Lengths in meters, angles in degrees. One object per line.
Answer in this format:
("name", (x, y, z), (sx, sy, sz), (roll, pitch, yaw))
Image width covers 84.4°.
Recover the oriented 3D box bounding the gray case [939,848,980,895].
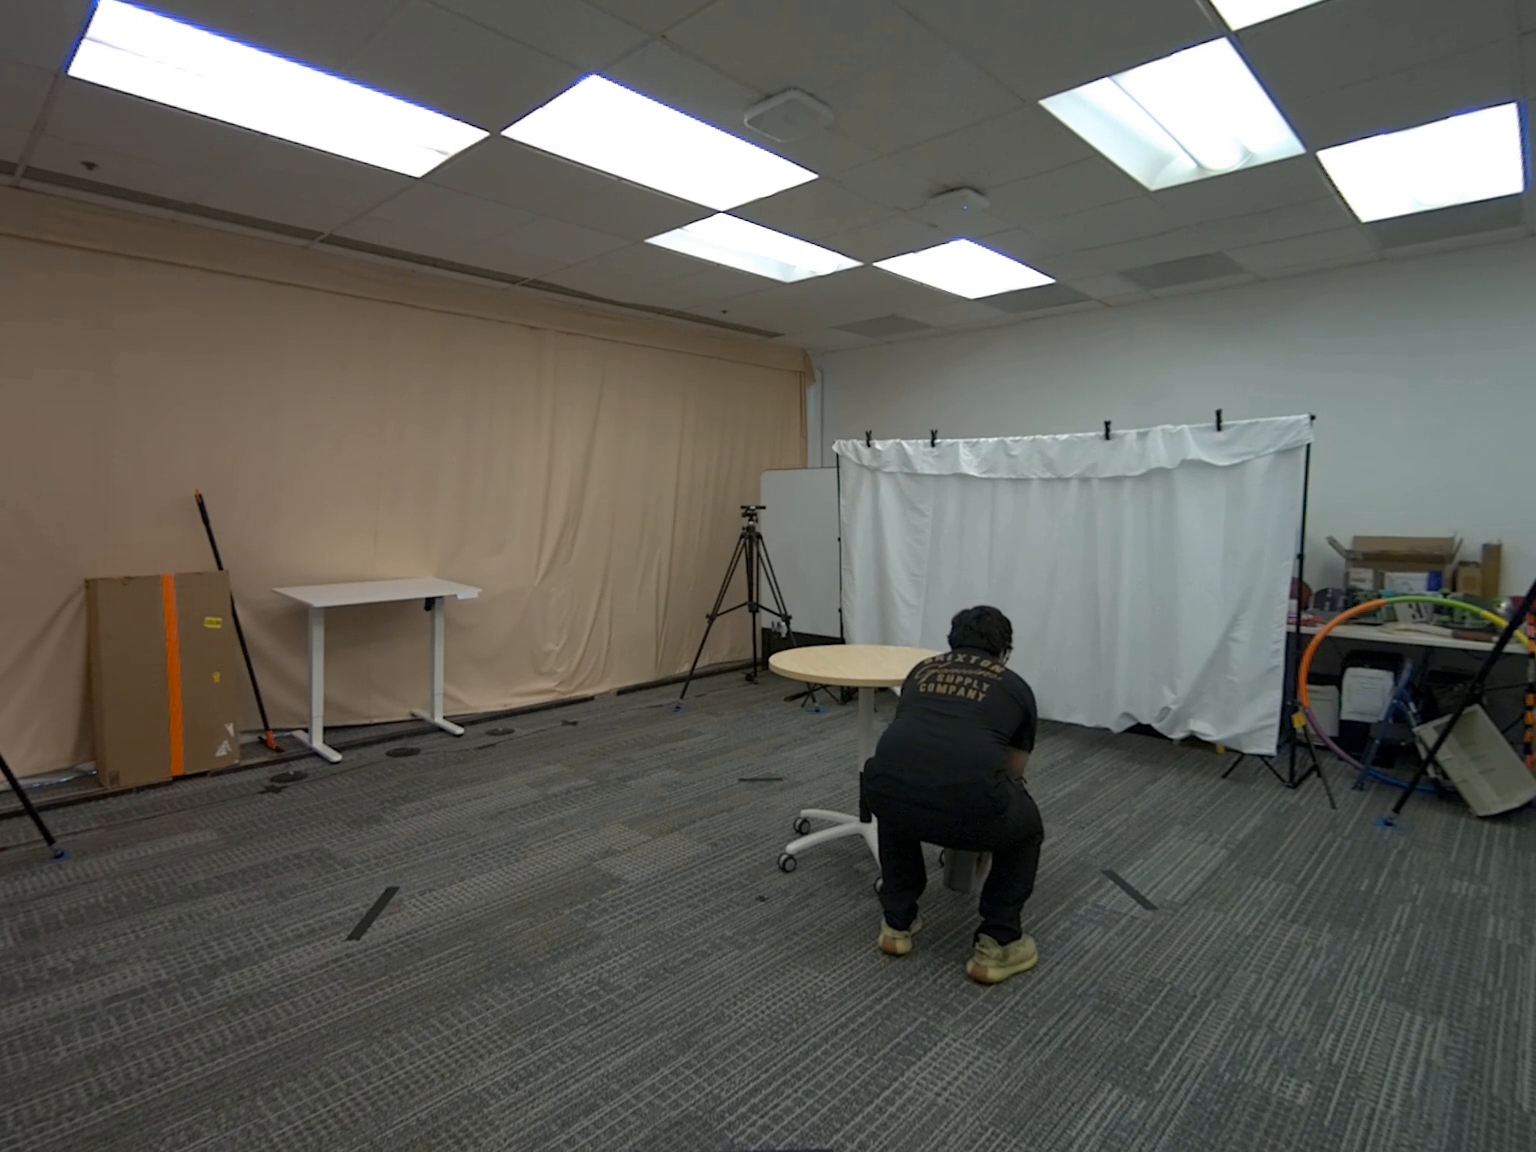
("gray case", (0.723, 0.950, 2.960), (0.107, 0.260, 0.250), (9, 5, 28))
